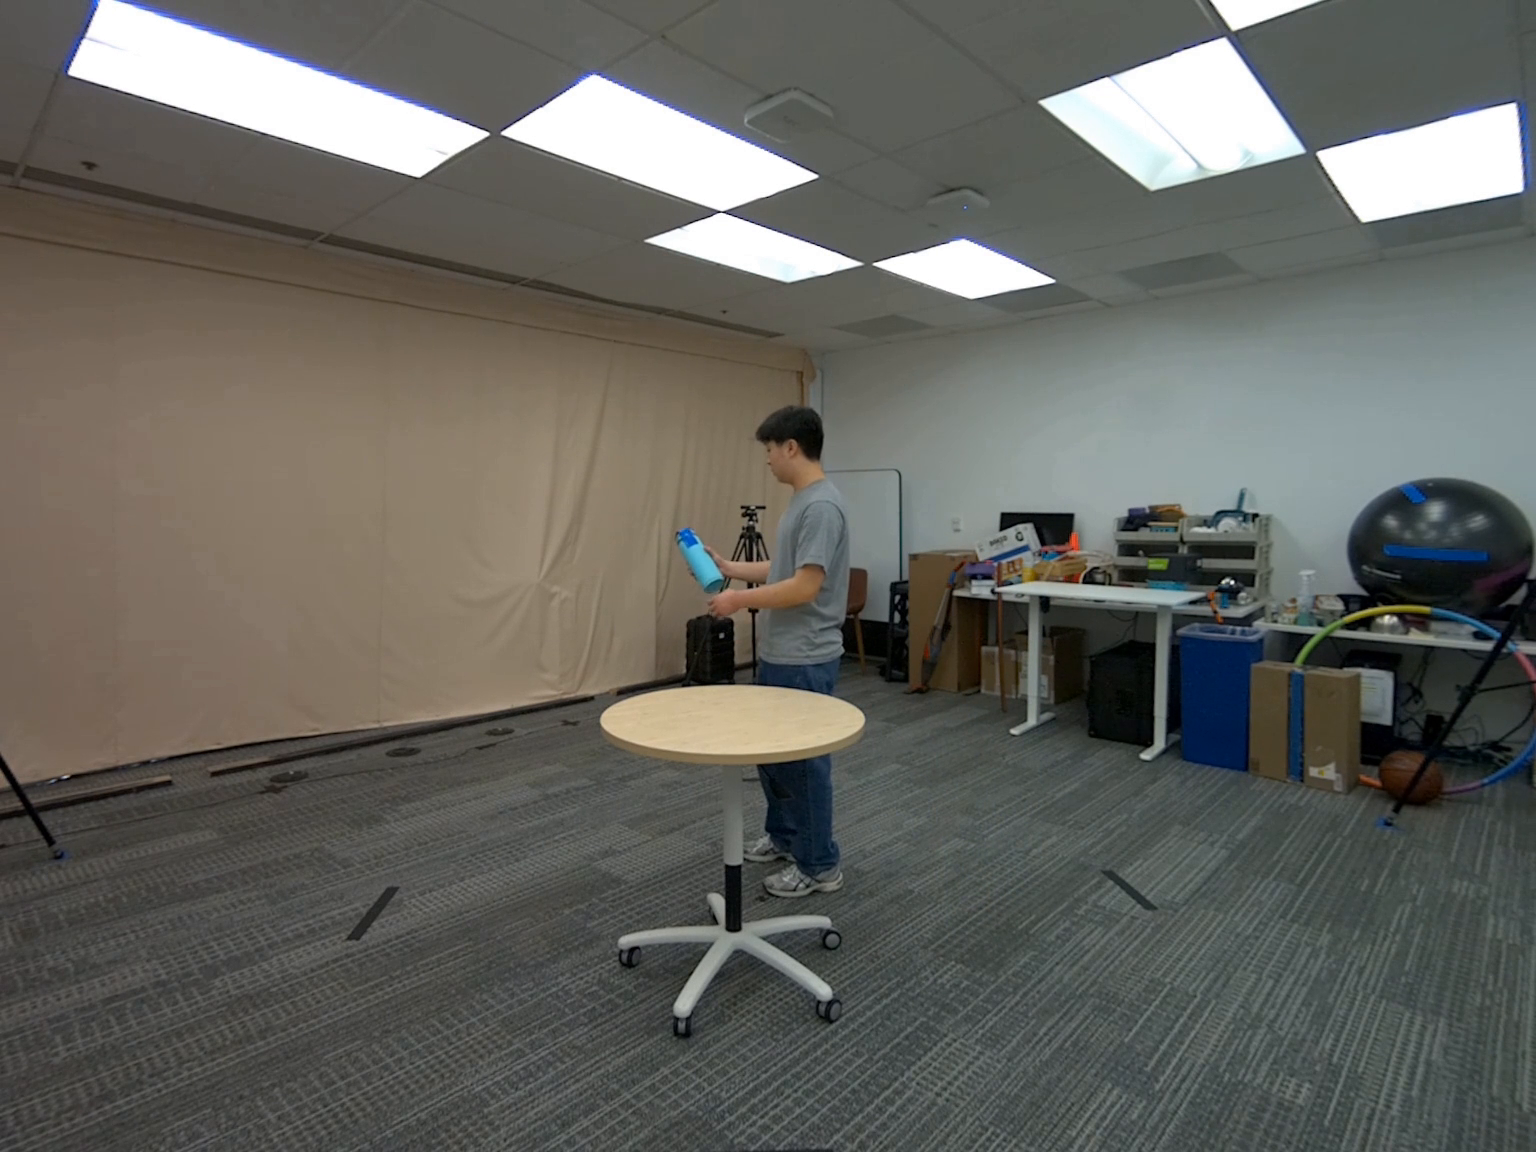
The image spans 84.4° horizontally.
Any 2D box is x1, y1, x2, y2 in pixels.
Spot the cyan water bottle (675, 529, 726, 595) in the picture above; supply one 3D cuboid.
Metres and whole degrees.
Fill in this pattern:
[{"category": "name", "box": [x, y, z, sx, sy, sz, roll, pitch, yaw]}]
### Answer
[{"category": "cyan water bottle", "box": [-0.264, -0.071, 3.241, 0.091, 0.291, 0.091, -26, -27, -16]}]
